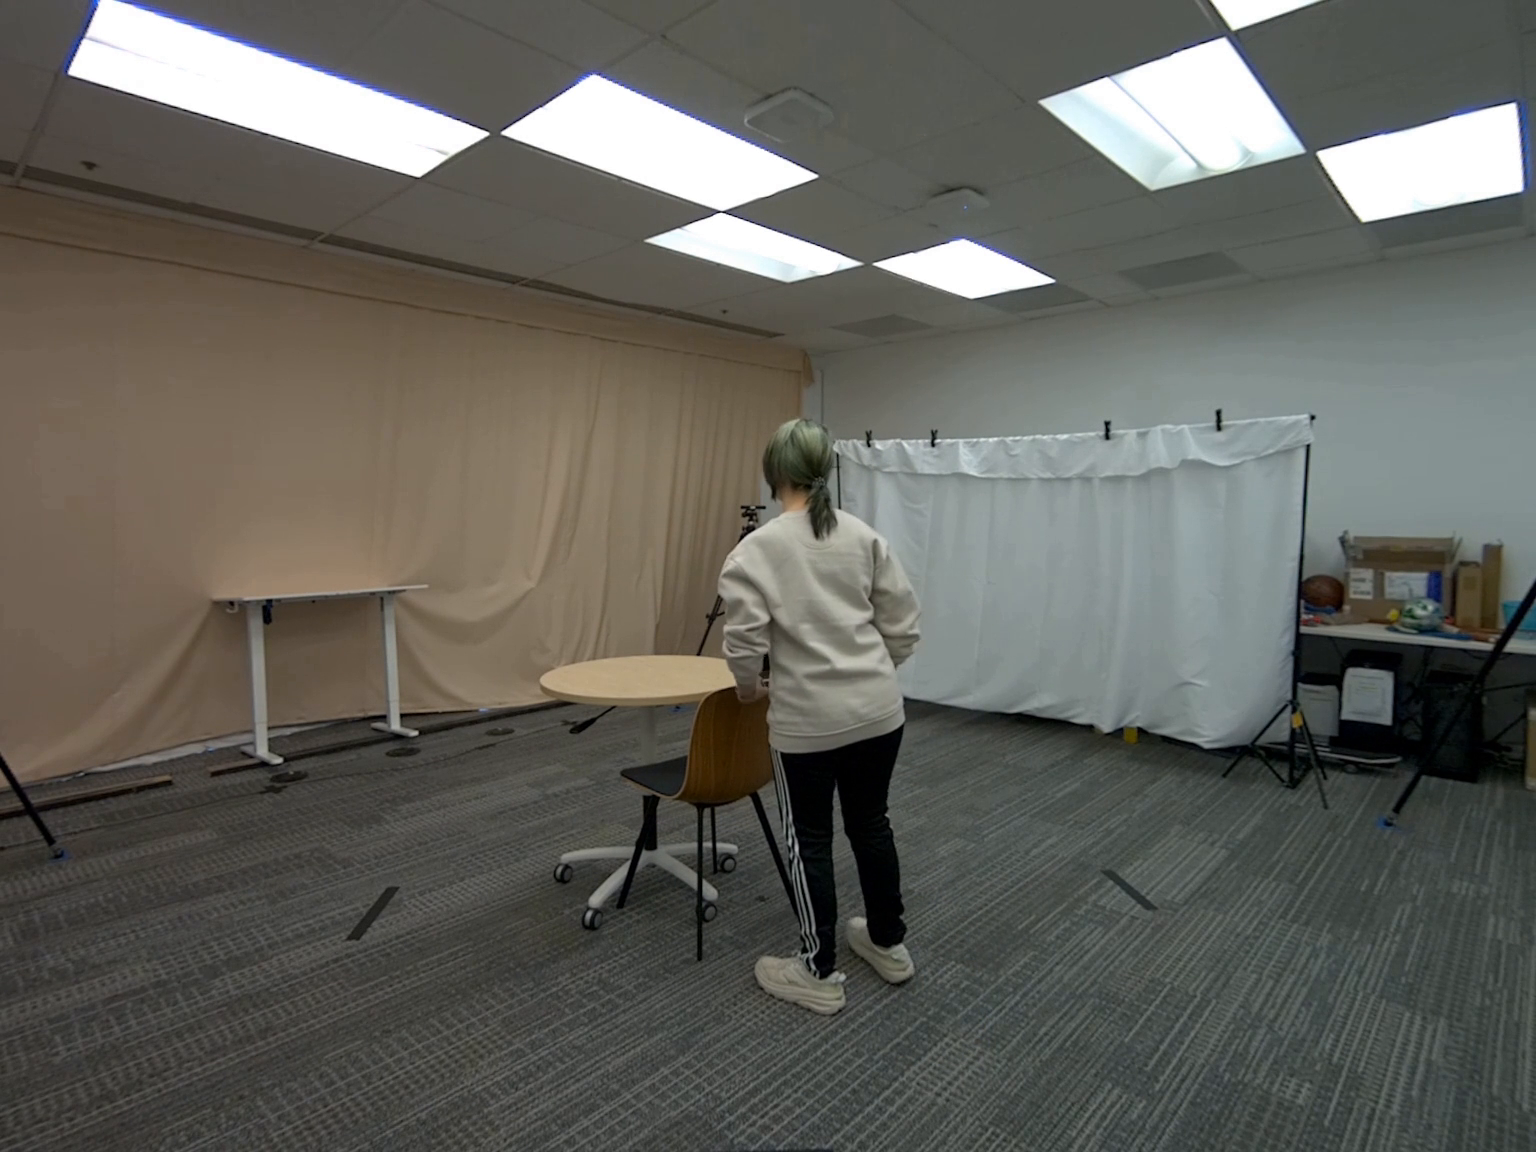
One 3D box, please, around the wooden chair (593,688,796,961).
[{"bbox_3d":[-0.210,0.730,2.865,0.463,0.874,0.541,-3,8,-42],"label":"wooden chair"}]
